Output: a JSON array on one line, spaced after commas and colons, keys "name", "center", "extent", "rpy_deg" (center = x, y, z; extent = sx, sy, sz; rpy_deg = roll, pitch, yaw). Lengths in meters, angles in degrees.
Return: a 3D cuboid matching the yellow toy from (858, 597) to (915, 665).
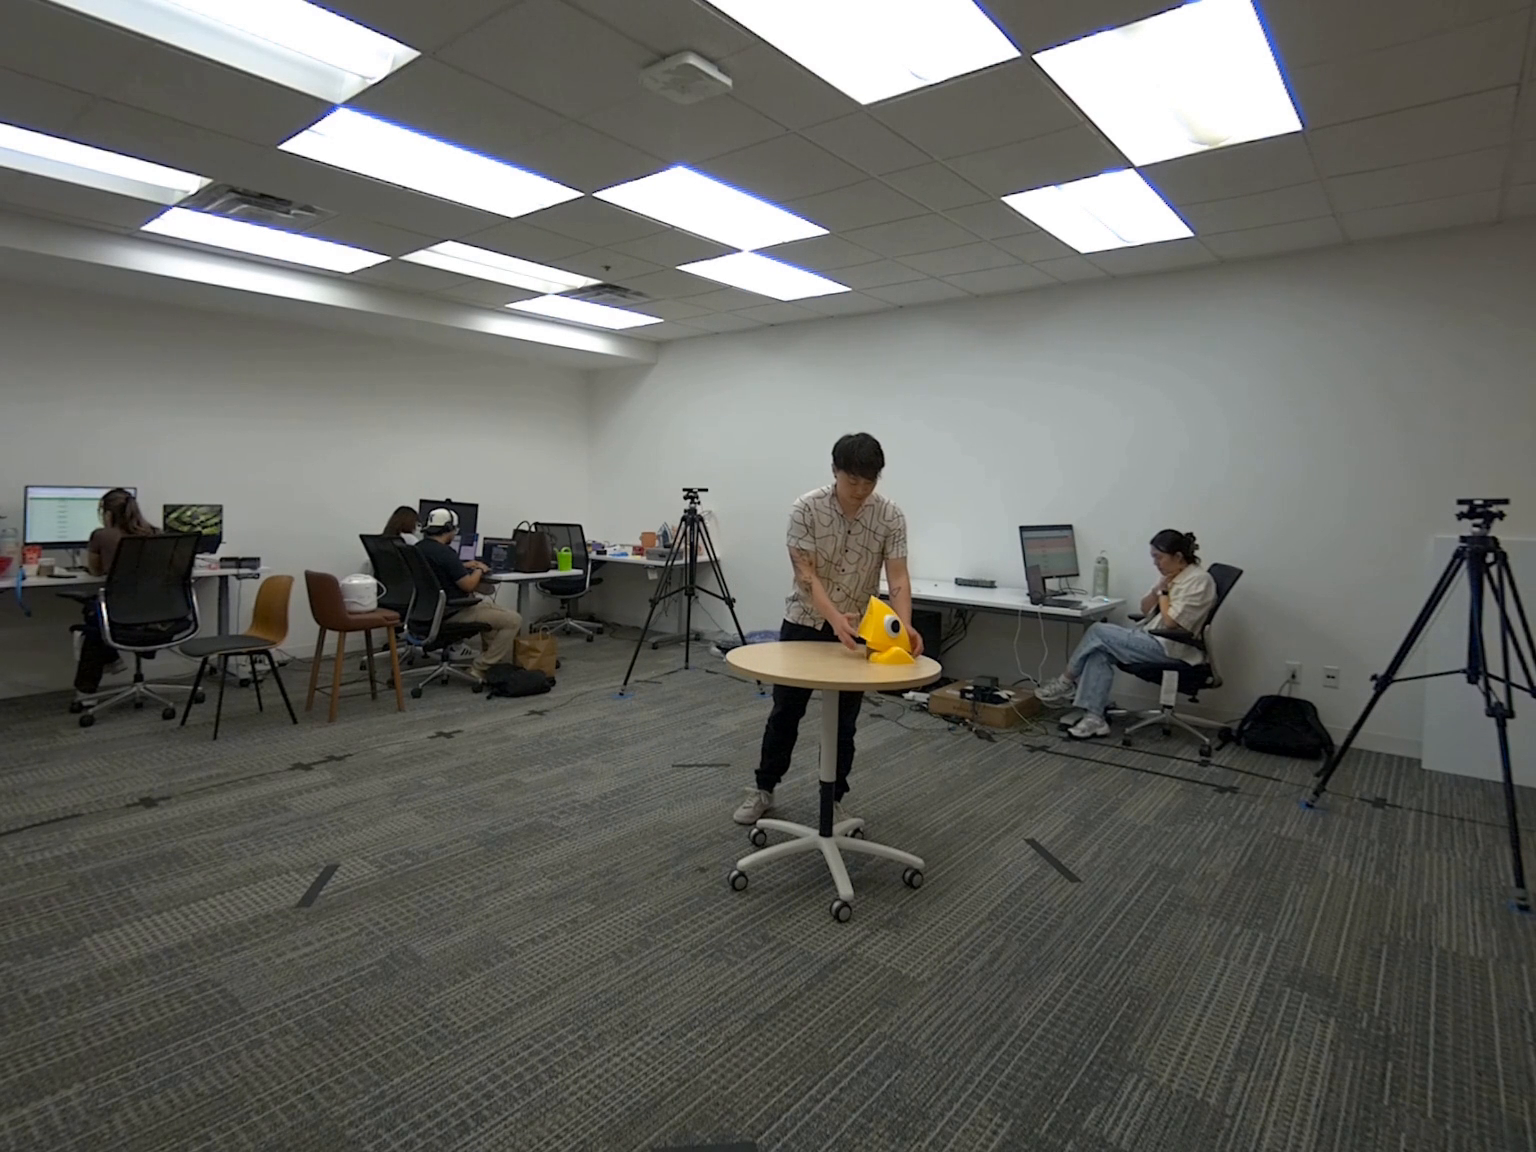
[{"name": "yellow toy", "center": [0.427, 0.183, 3.114], "extent": [0.192, 0.230, 0.207], "rpy_deg": [0, 3, -7]}]
